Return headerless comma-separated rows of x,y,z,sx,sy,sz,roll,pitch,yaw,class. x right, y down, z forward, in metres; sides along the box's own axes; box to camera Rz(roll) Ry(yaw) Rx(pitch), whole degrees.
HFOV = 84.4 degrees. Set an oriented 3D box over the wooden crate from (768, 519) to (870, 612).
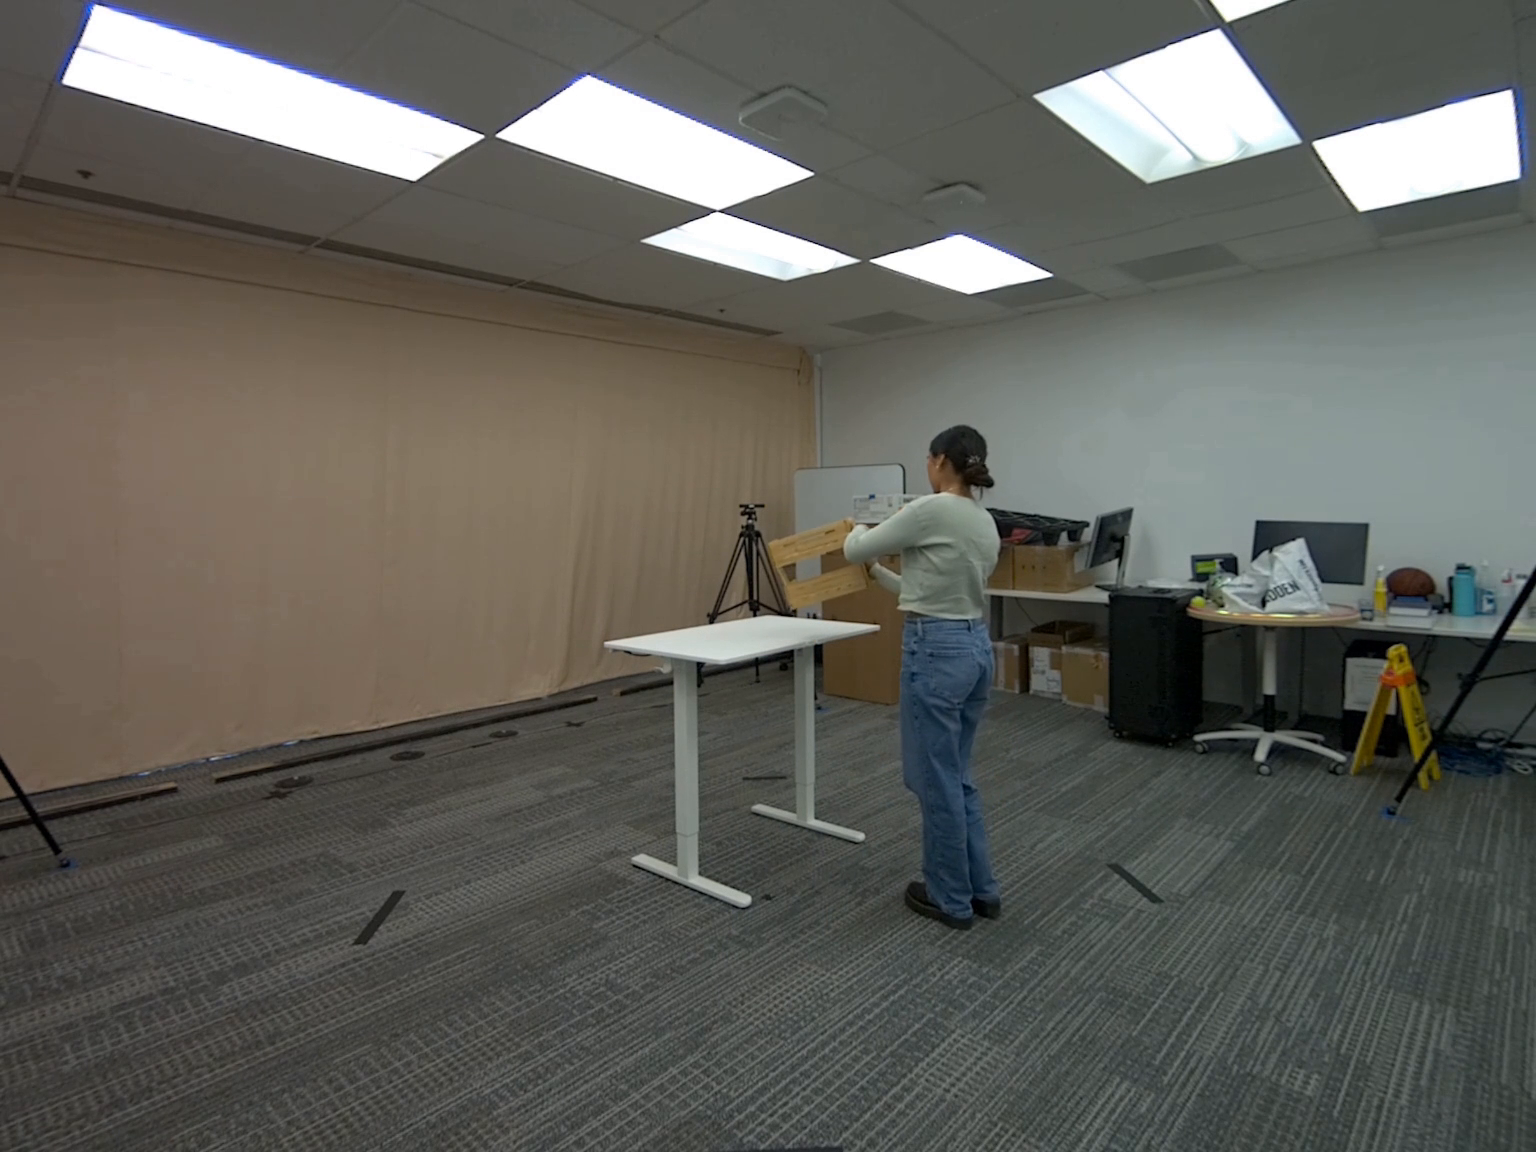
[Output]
0.211,-0.054,3.131,0.329,0.273,0.298,-18,1,16,wooden crate
